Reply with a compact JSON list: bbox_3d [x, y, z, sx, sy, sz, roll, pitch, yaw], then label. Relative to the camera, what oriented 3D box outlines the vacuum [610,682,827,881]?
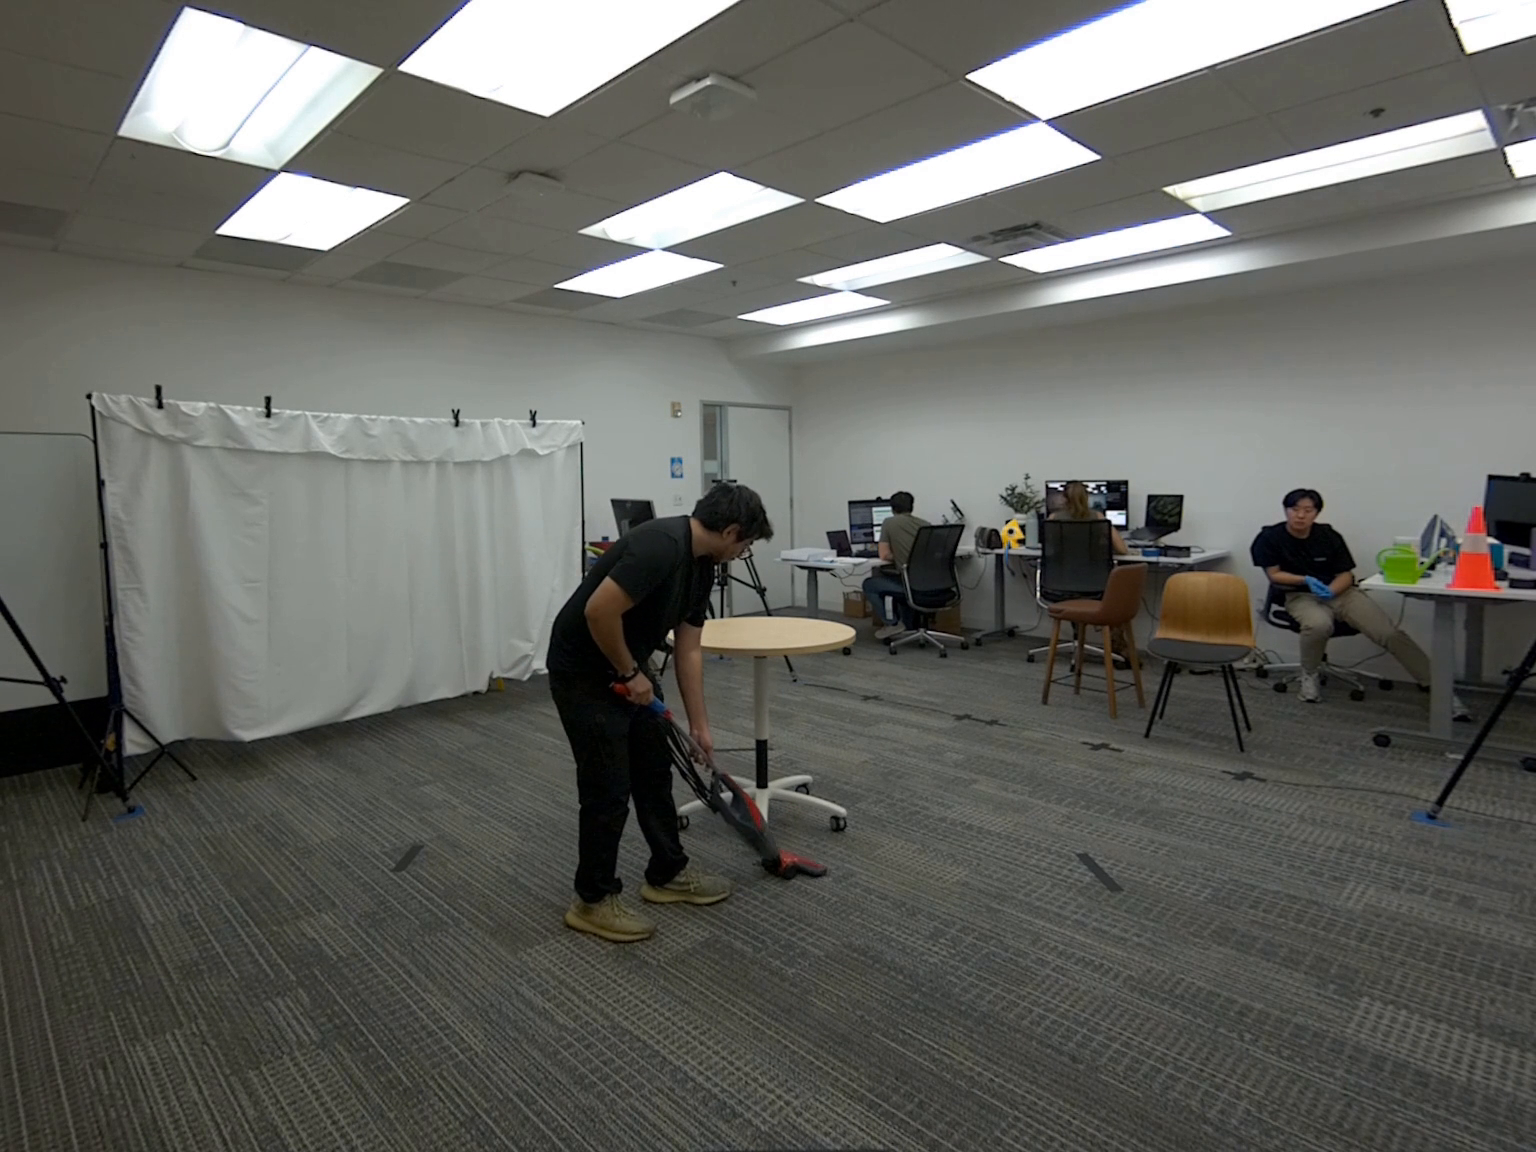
[{"bbox_3d":[-0.152,0.690,2.820,0.261,1.014,0.144,11,53,48],"label":"vacuum"}]
